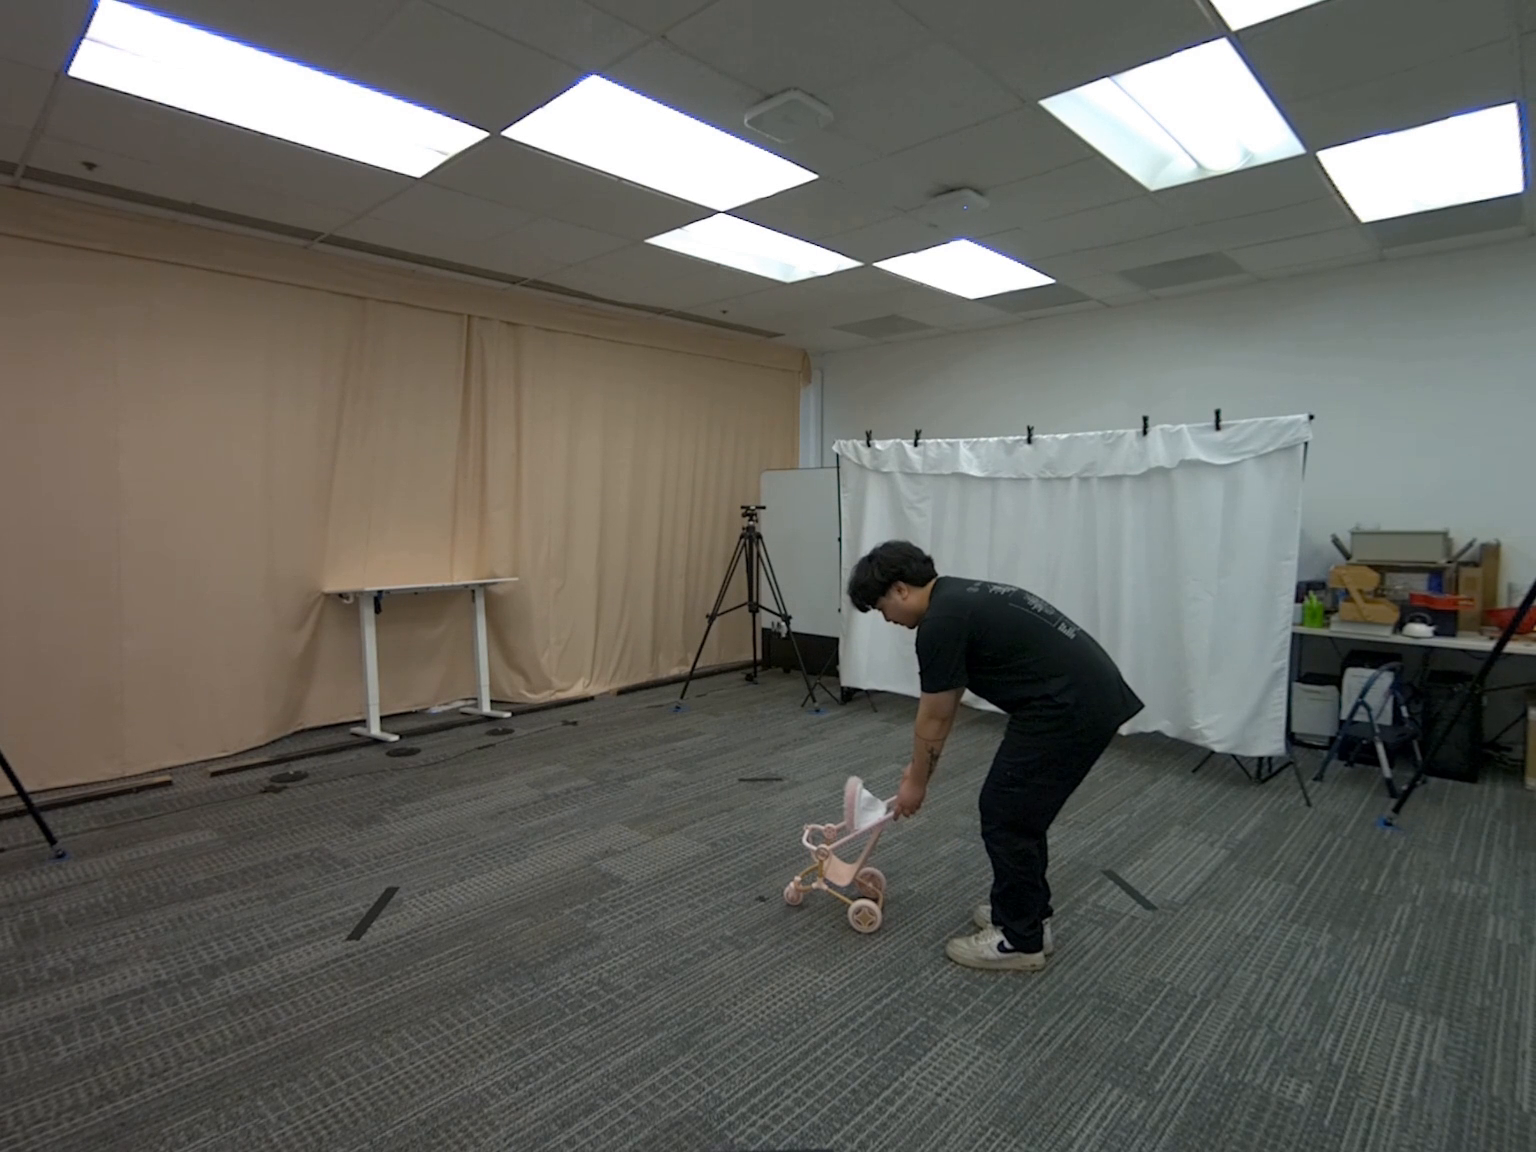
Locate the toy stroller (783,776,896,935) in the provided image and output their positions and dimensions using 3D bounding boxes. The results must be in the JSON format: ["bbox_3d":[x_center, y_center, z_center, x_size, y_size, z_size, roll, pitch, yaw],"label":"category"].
[{"bbox_3d":[0.283,0.927,2.877,0.349,0.533,0.276,17,8,17],"label":"toy stroller"}]
